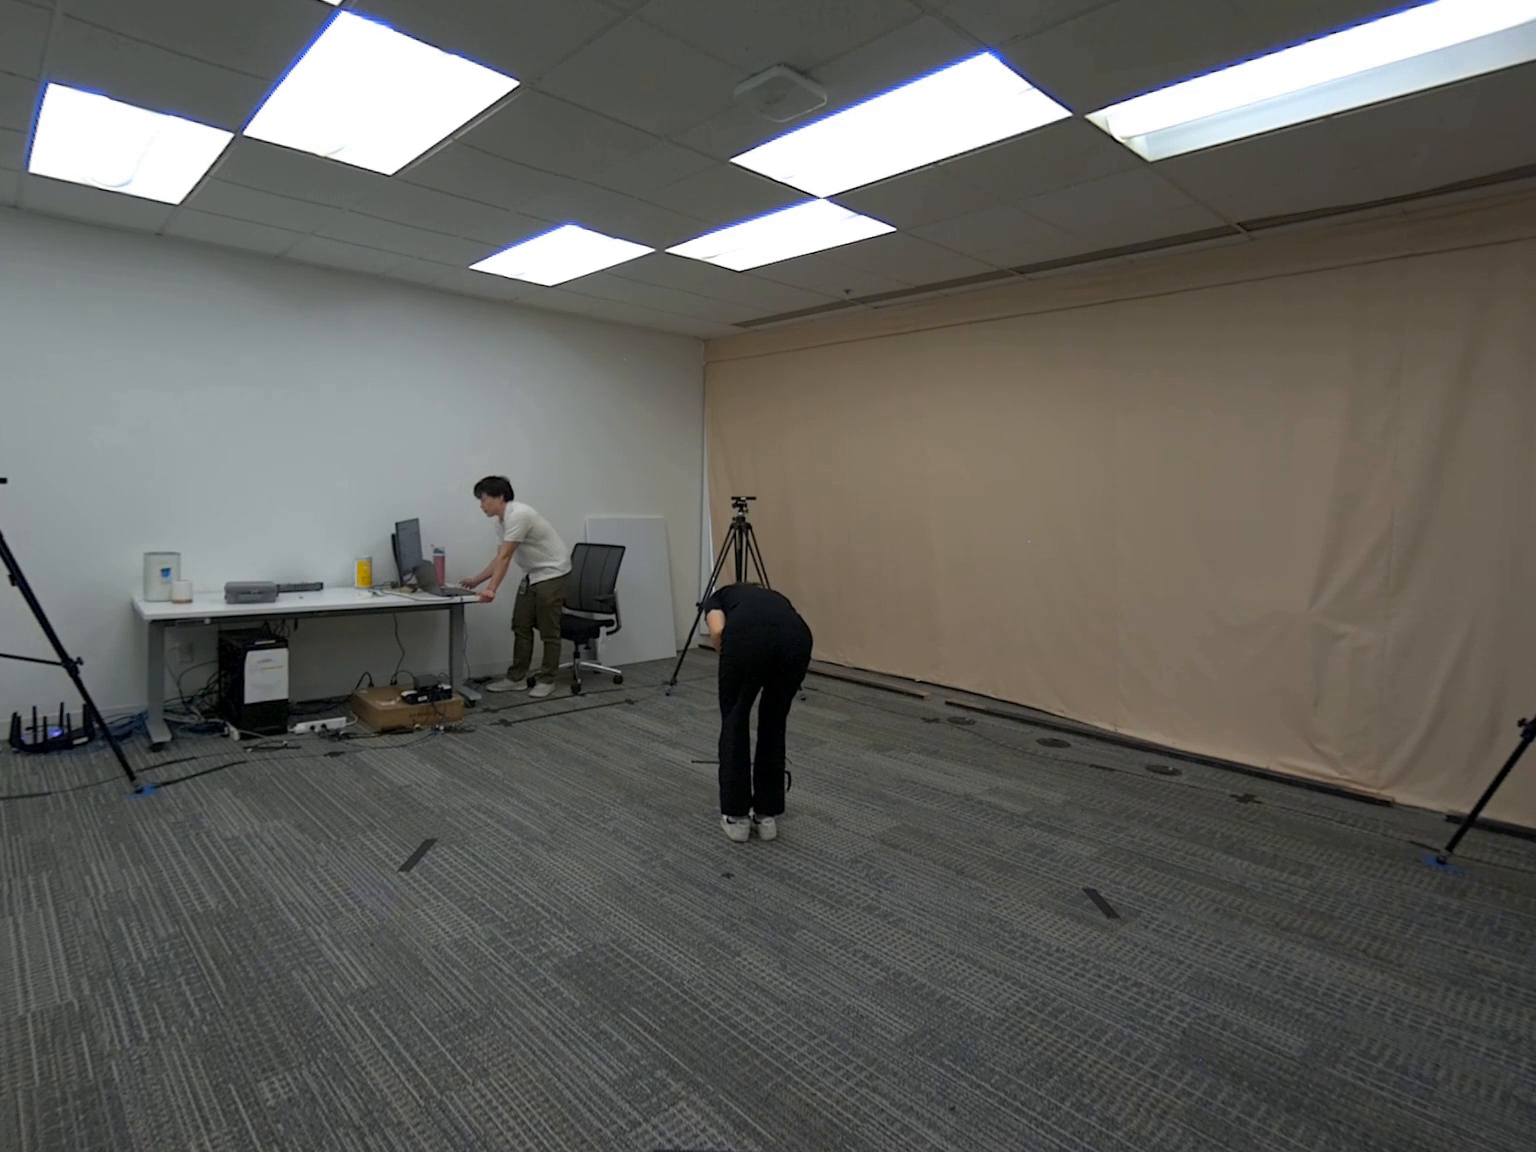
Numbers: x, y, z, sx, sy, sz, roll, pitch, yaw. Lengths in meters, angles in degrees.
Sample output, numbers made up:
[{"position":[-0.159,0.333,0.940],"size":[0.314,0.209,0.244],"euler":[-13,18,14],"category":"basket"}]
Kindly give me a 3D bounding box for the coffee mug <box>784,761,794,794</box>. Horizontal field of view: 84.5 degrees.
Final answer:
[{"position":[0.032,0.963,3.764],"size":[0.125,0.203,0.086],"euler":[3,1,35],"category":"coffee mug"}]
